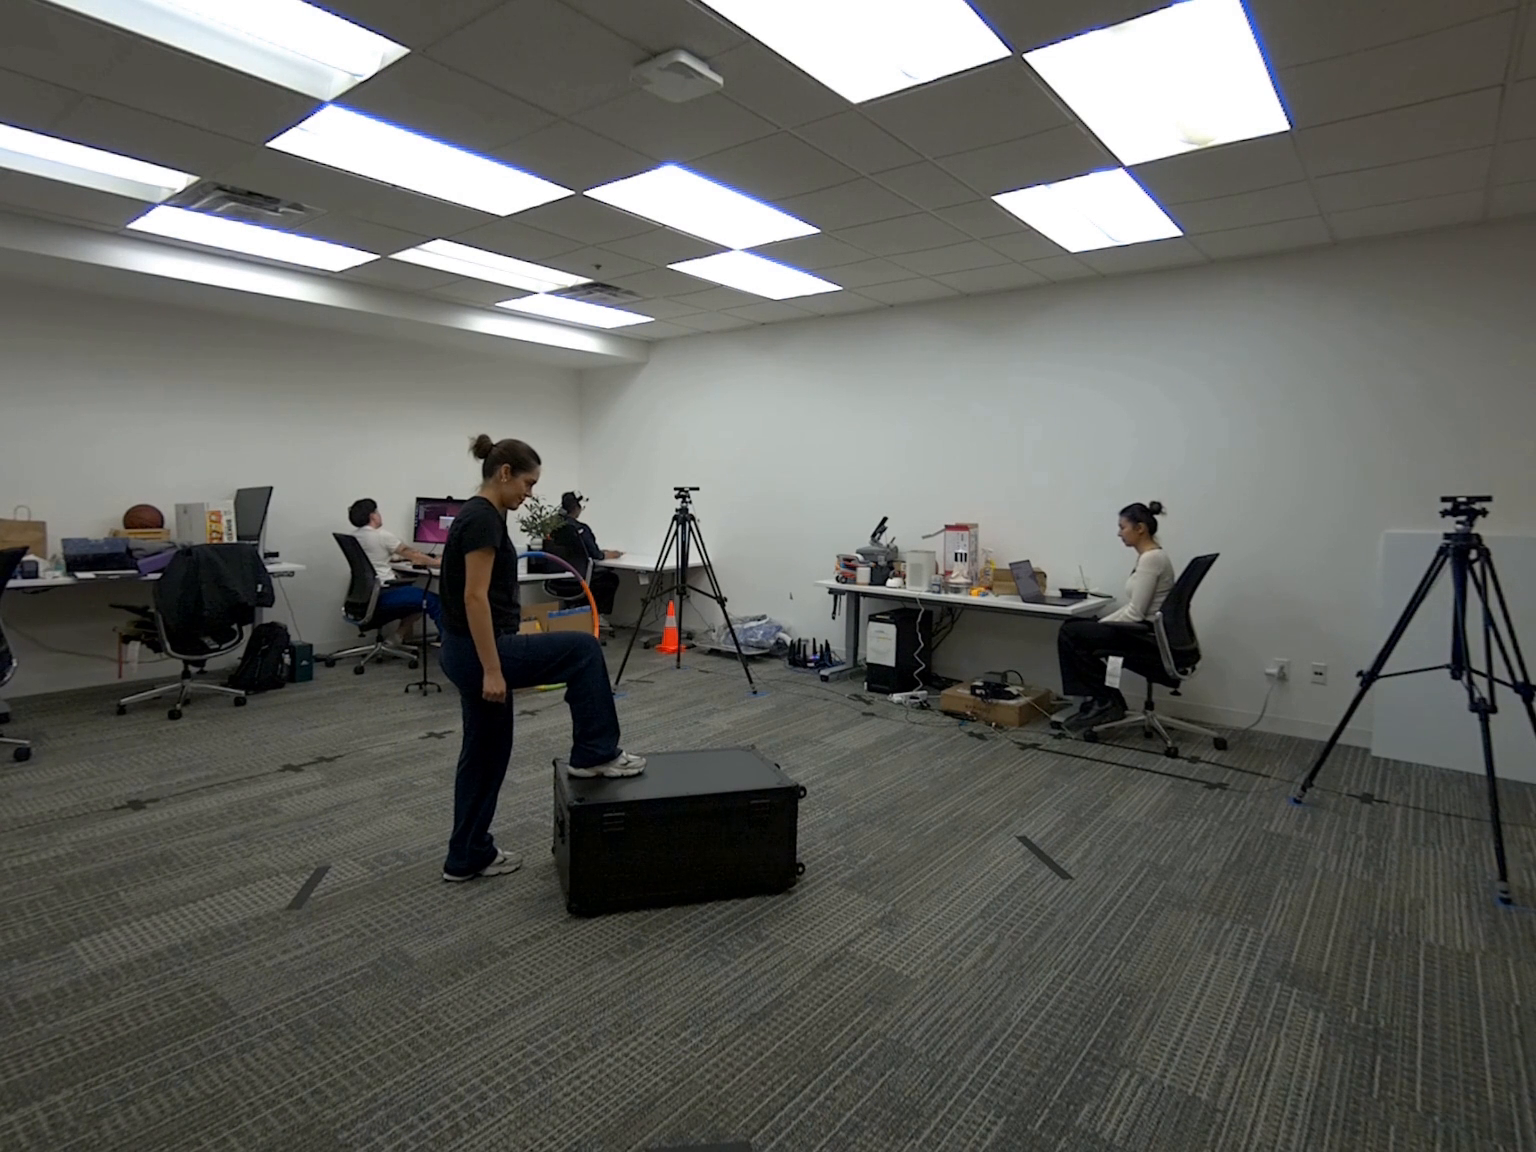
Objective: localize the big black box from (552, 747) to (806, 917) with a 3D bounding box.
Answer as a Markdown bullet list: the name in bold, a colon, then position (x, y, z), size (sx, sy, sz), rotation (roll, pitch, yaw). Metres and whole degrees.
- **big black box**: position (-0.302, 0.875, 3.057), size (0.846, 0.395, 0.533), rotation (-1, 5, -18)
